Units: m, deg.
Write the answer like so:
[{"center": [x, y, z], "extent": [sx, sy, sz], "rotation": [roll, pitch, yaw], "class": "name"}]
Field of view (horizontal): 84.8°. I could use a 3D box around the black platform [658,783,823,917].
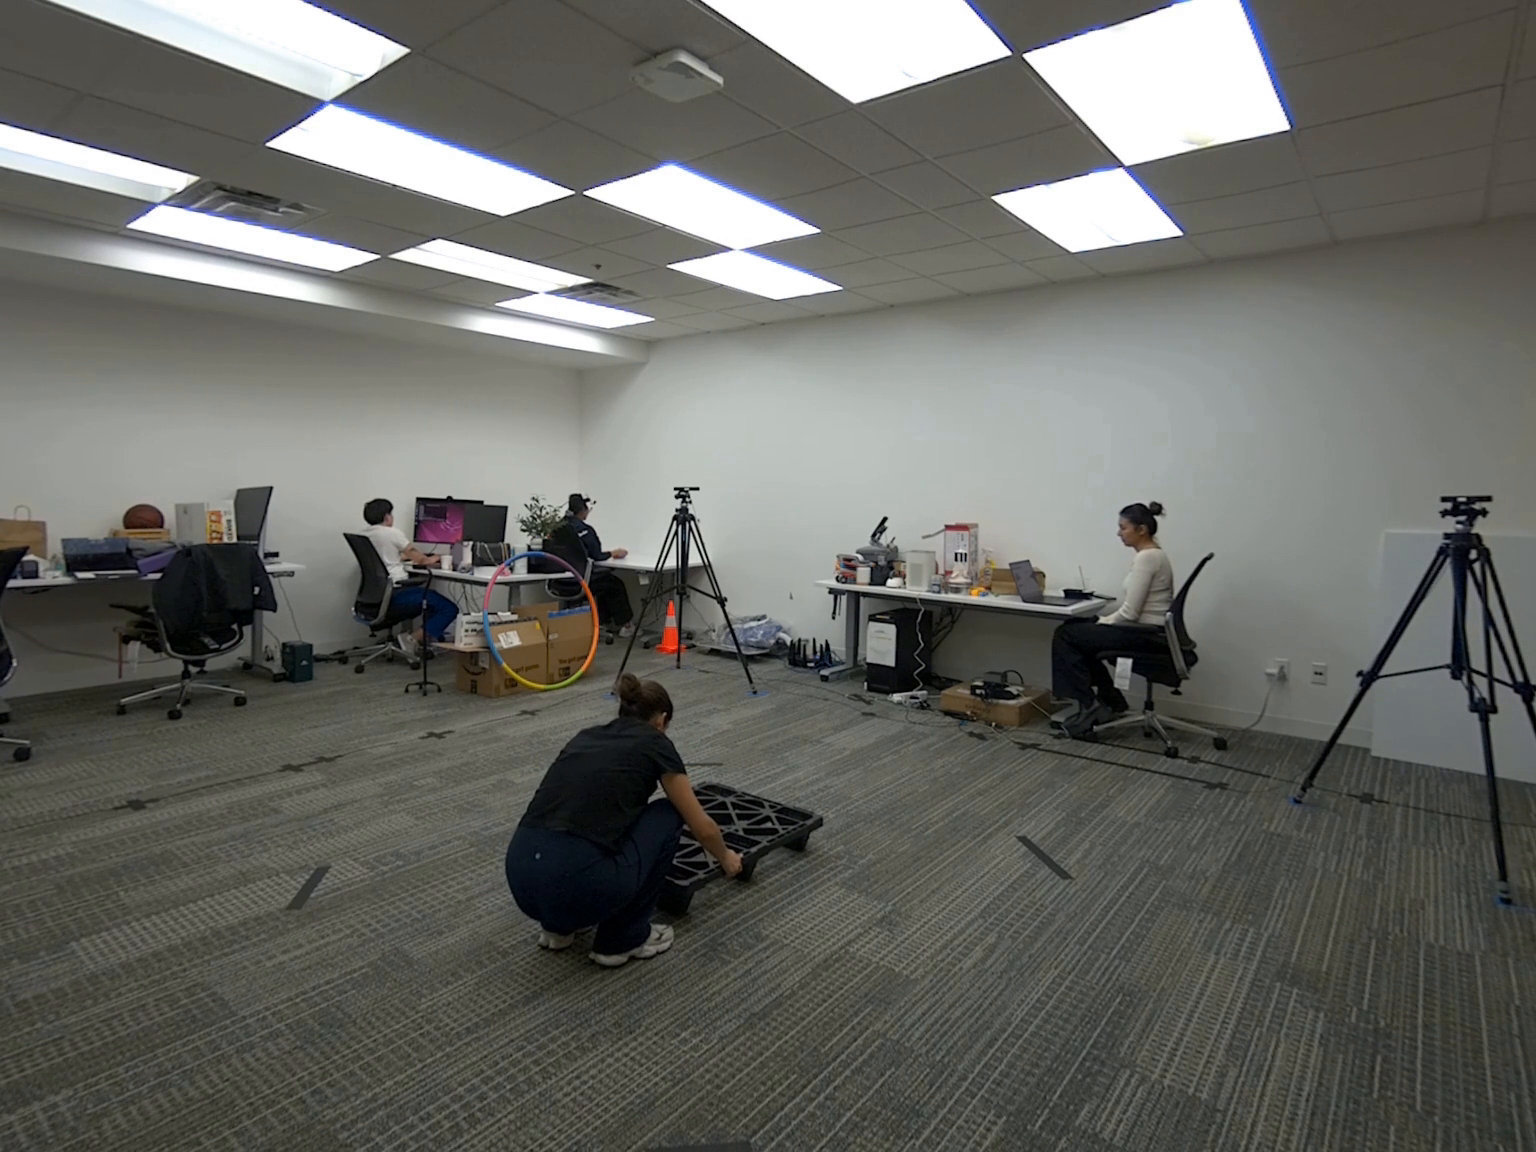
[{"center": [-0.234, 0.993, 3.188], "extent": [0.626, 0.143, 0.782], "rotation": [5, 8, 39], "class": "black platform"}]
